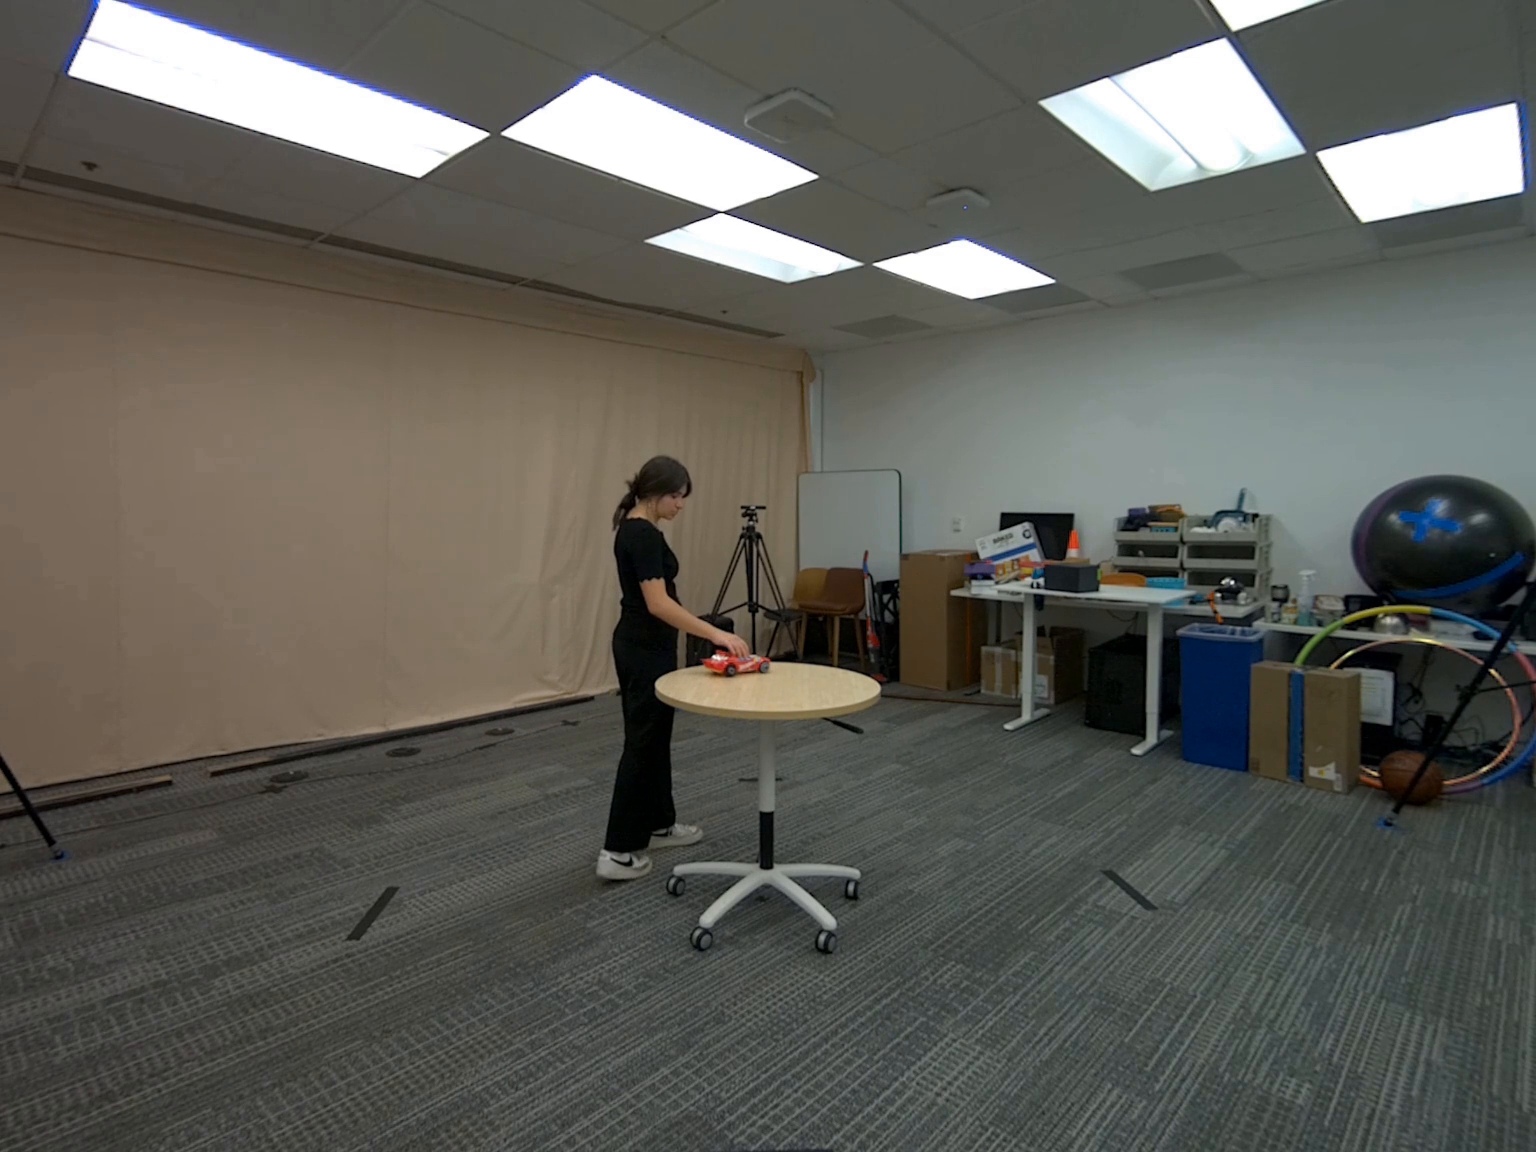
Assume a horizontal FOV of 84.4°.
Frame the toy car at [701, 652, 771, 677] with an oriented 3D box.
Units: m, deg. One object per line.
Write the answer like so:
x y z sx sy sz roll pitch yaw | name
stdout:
-0.121 0.321 3.043 0.247 0.083 0.134 10 -1 -30 | toy car
